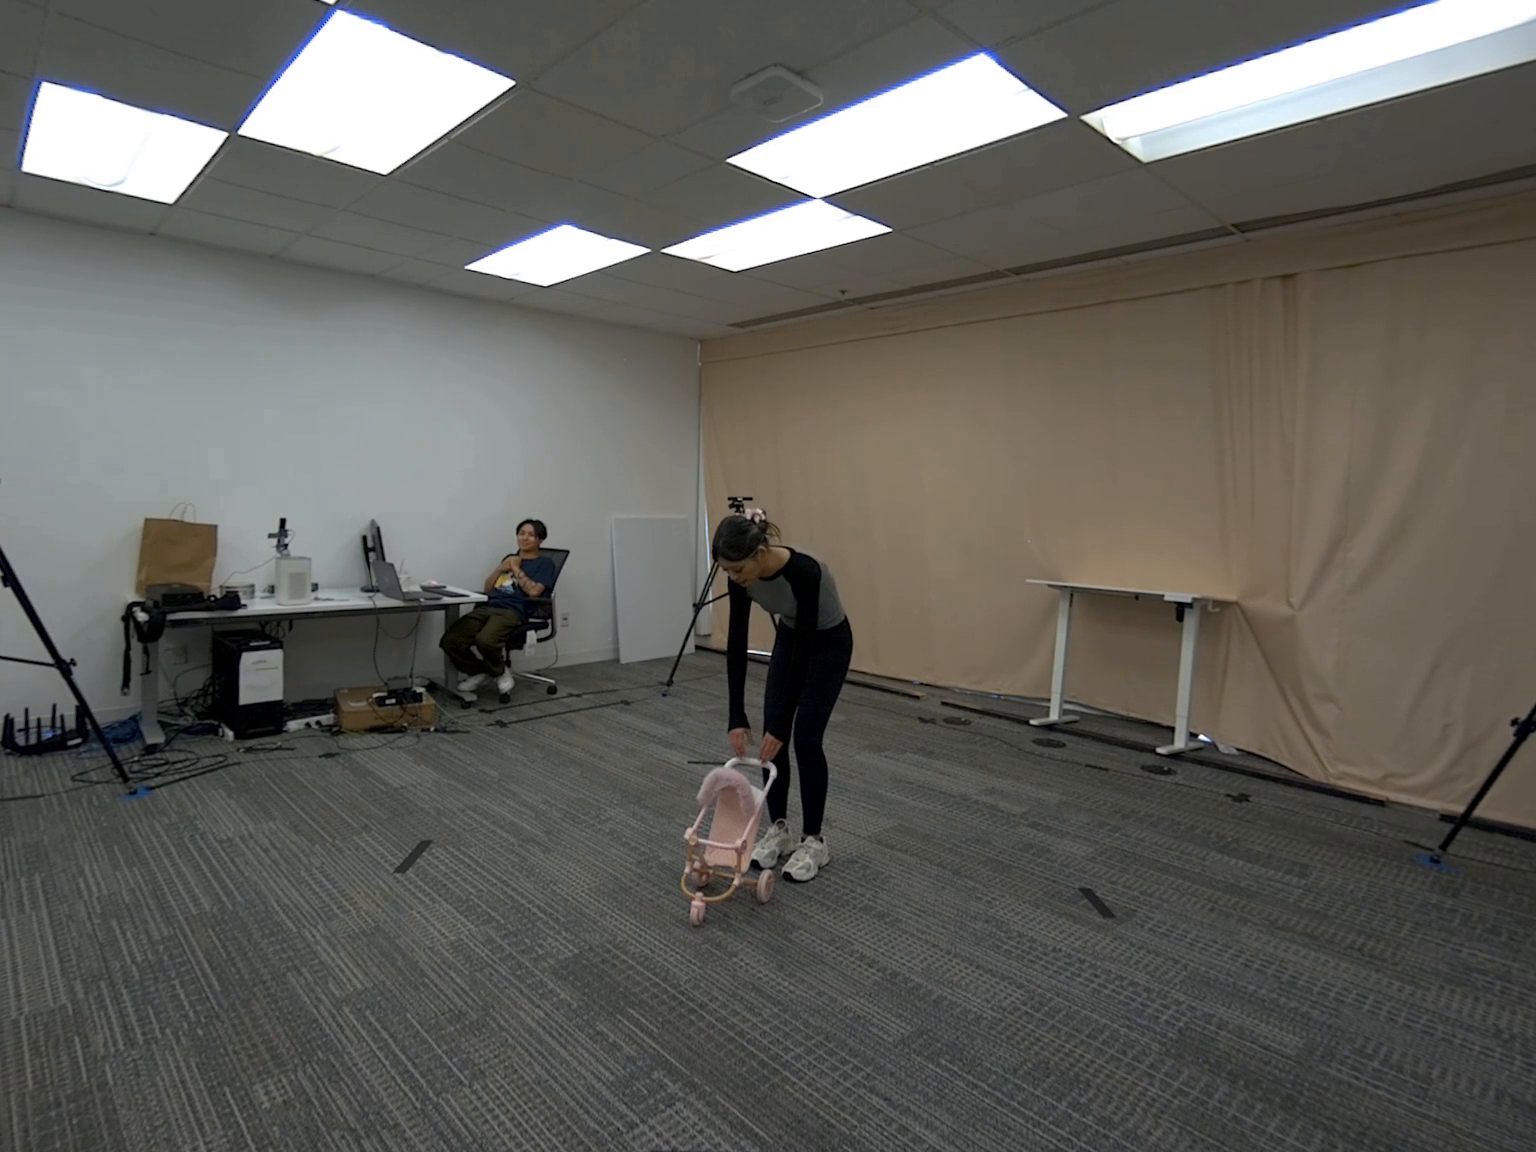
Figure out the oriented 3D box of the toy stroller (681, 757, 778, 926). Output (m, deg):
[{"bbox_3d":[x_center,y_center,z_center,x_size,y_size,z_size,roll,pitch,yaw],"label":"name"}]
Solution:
[{"bbox_3d":[-0.156,0.902,2.896,0.287,0.538,0.332,2,-11,30],"label":"toy stroller"}]
